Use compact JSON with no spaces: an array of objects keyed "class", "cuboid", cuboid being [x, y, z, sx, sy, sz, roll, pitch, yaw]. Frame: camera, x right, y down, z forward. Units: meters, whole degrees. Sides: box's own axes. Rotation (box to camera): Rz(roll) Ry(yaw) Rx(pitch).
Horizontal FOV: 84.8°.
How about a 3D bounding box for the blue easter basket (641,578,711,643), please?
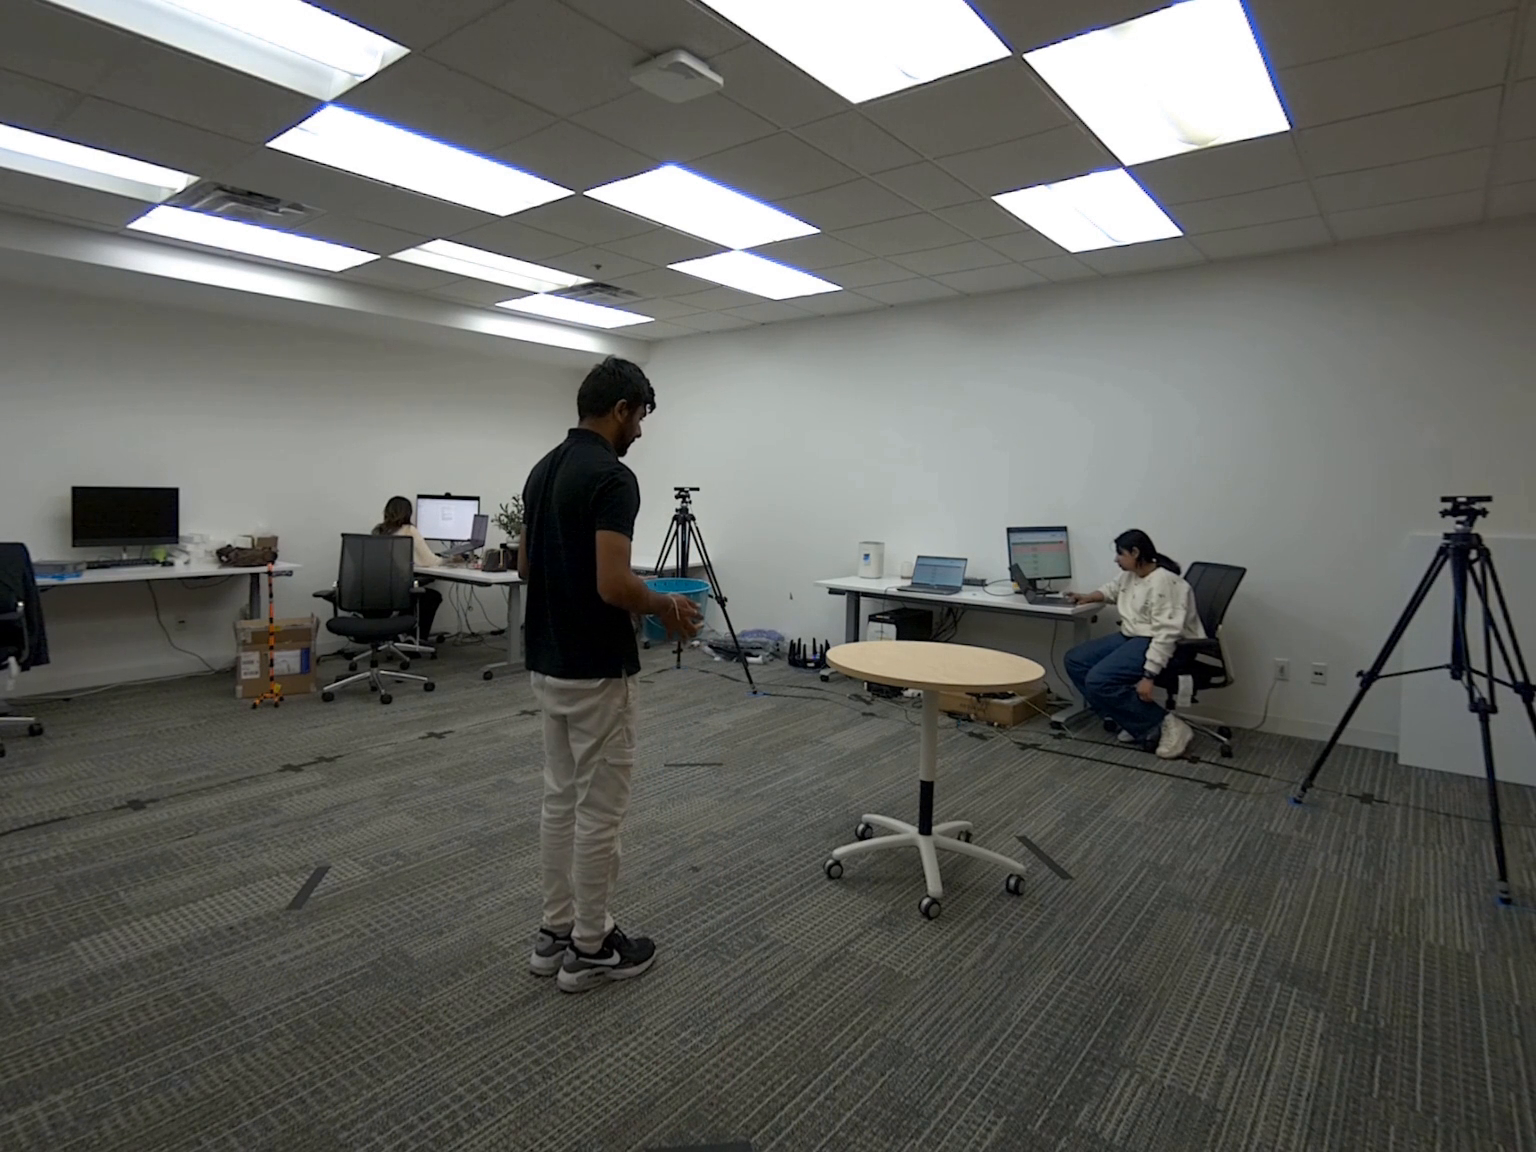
[{"class":"blue easter basket","cuboid":[-0.301,0.109,2.538,0.243,0.155,0.246,-1,9,-2]}]
